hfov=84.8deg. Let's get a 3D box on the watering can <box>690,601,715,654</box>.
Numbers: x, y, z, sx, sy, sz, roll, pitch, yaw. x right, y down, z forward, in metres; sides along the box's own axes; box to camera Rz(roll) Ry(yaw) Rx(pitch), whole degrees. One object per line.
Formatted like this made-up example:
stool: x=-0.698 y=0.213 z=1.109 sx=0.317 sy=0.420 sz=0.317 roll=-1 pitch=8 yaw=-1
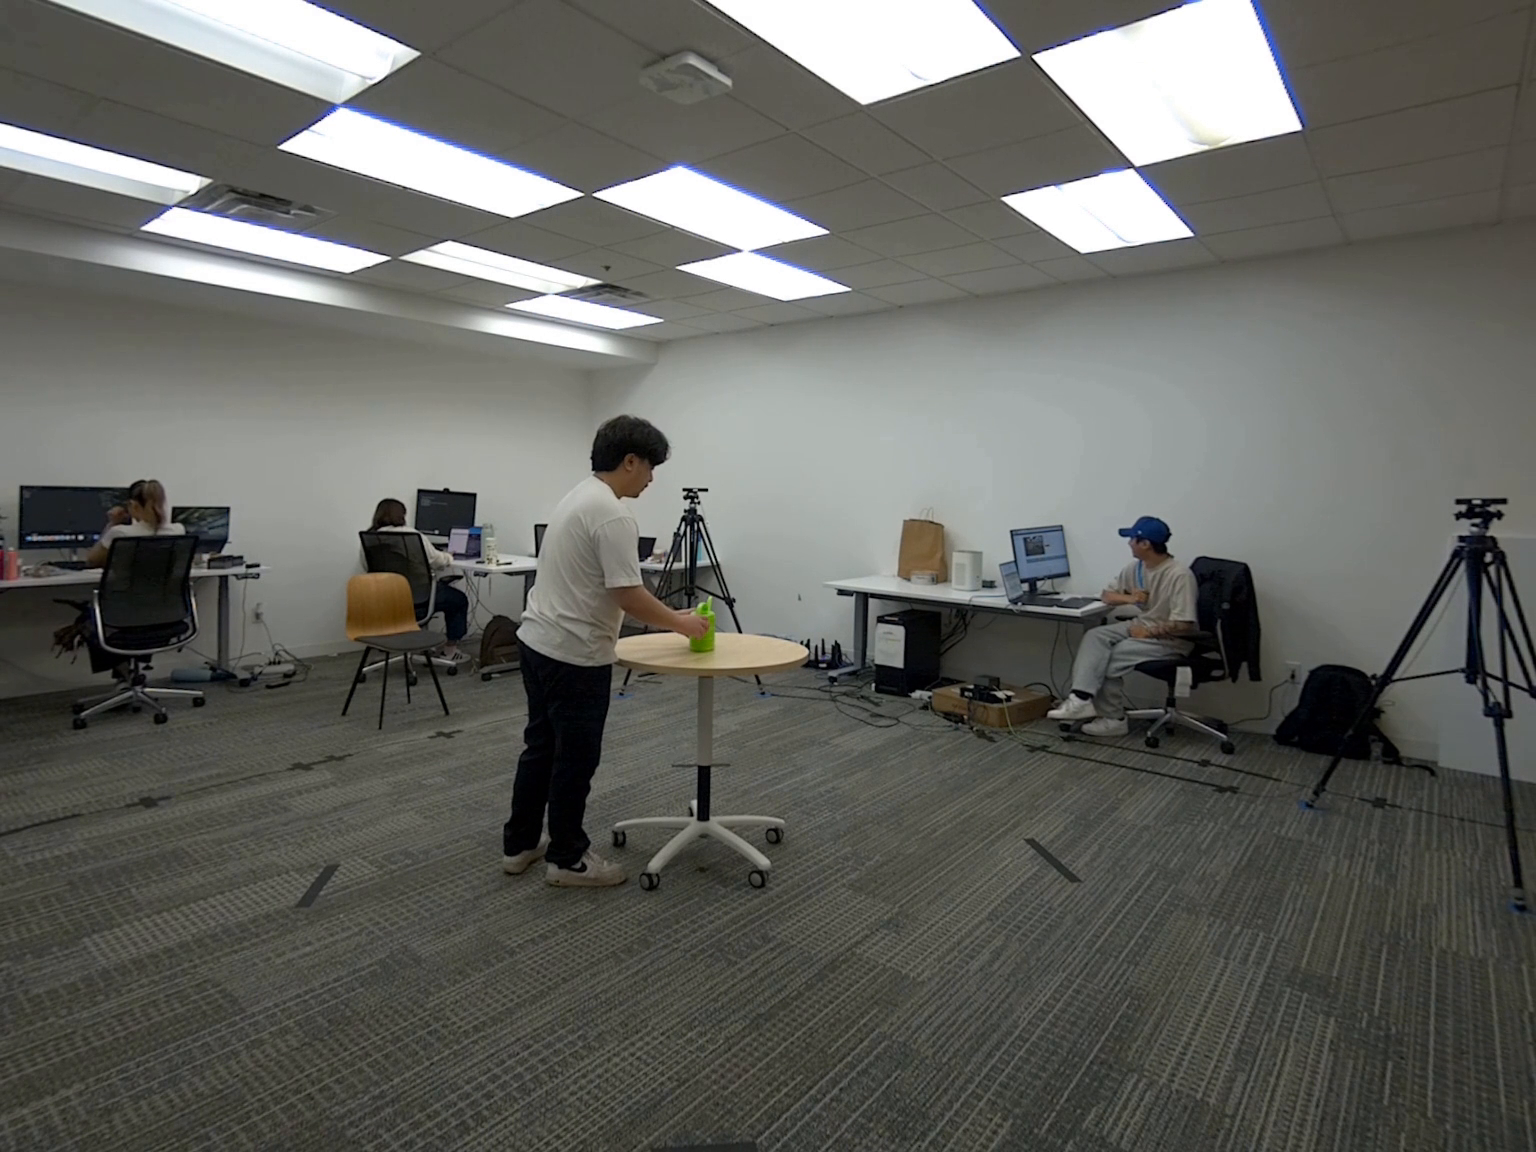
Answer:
watering can: x=-0.241 y=0.187 z=3.202 sx=0.100 sy=0.176 sz=0.273 roll=2 pitch=5 yaw=20
